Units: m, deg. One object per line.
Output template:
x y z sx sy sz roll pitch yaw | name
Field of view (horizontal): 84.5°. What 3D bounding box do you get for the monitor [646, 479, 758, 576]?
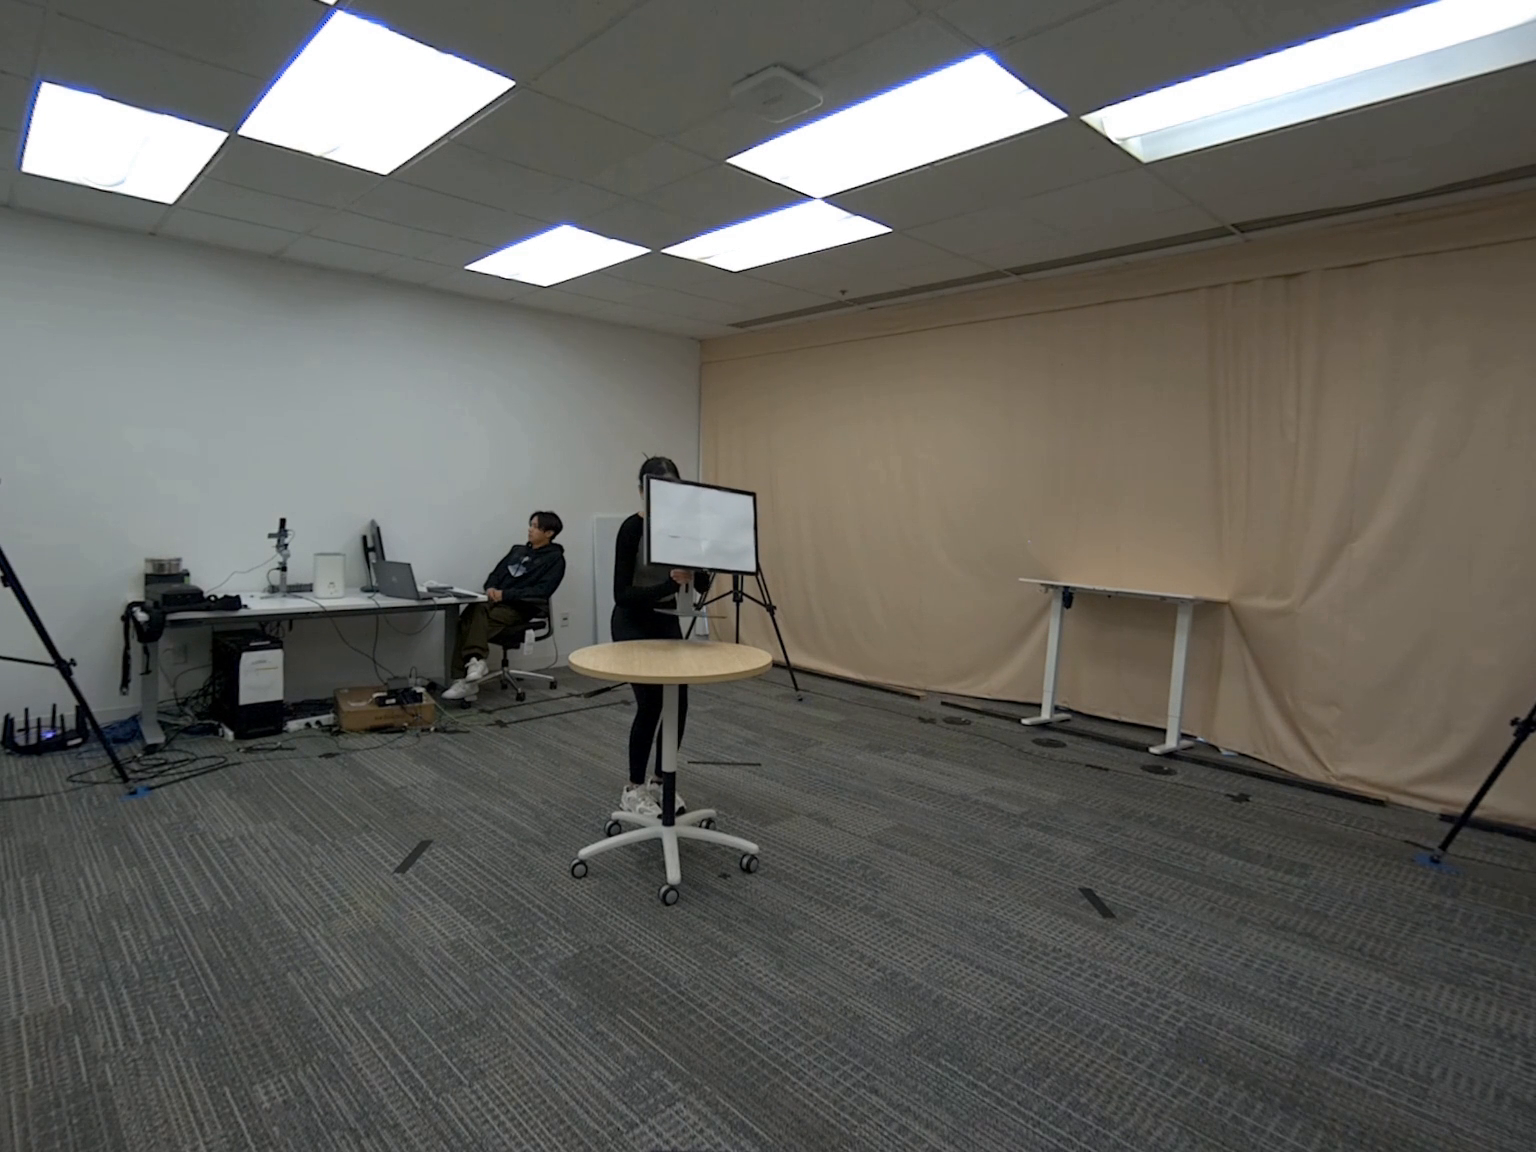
-0.301 -0.111 3.438 0.525 0.523 0.192 5 -1 -40 | monitor
